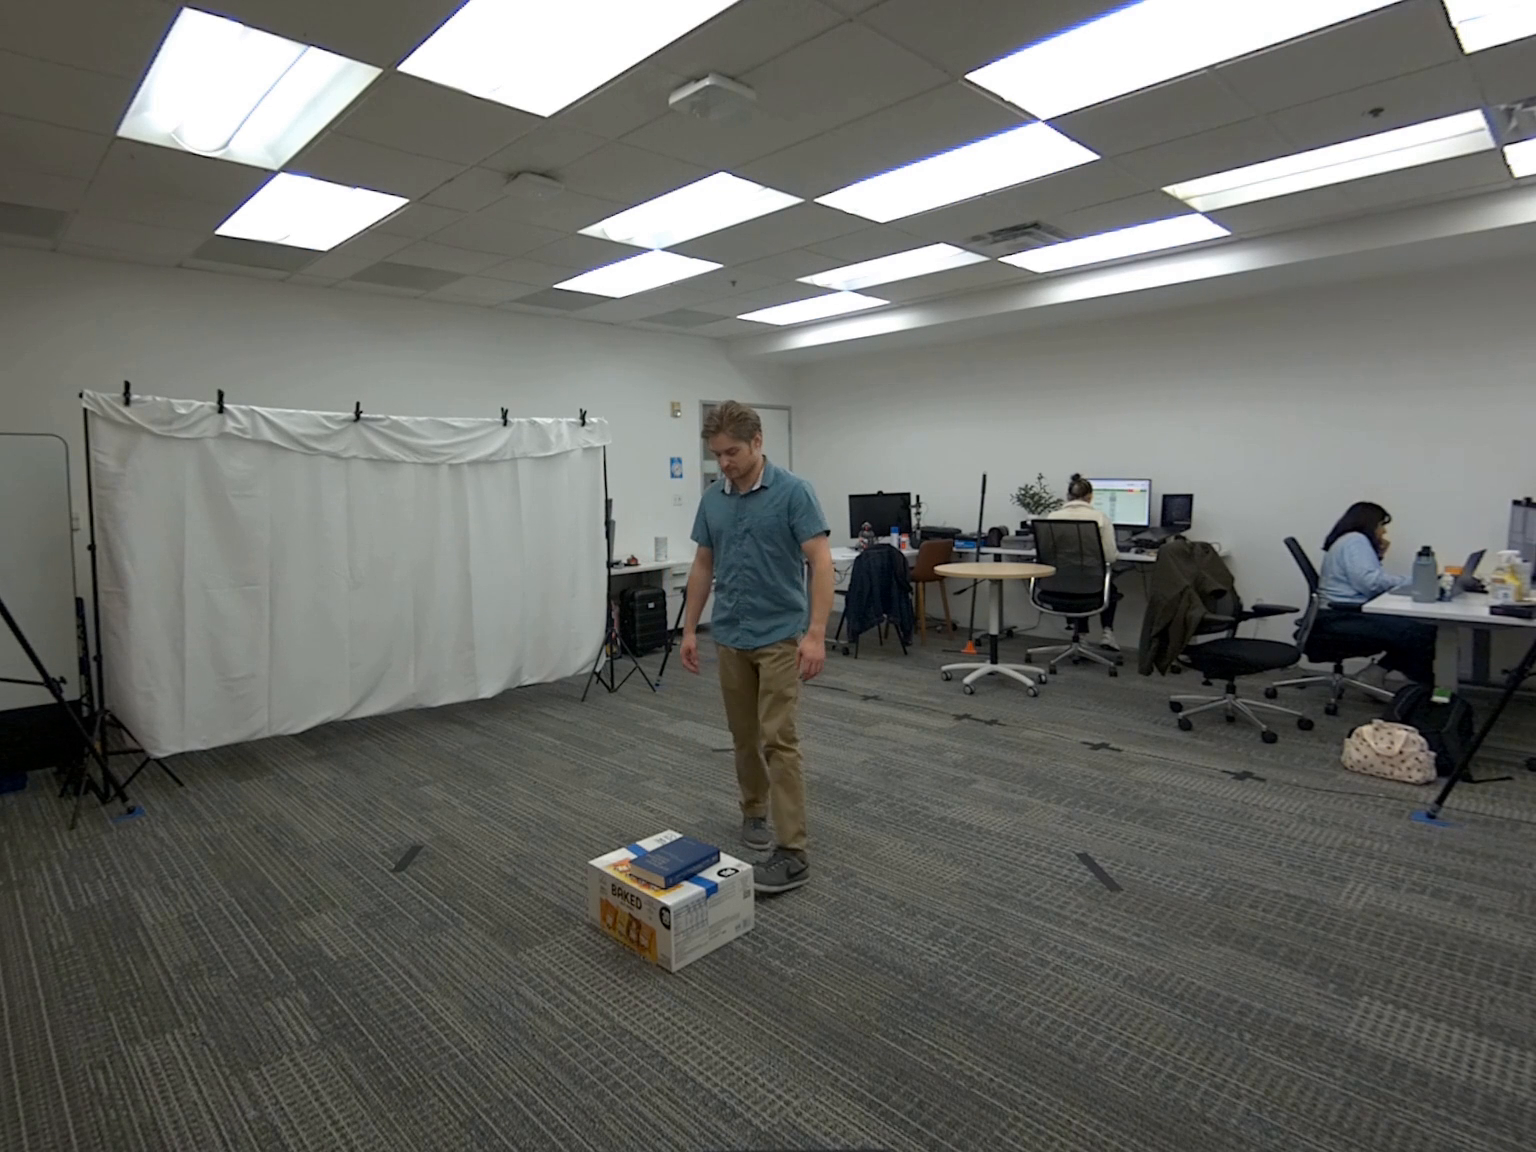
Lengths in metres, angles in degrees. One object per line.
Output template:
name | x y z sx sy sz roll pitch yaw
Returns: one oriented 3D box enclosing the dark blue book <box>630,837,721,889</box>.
dark blue book | -0.284 0.894 2.640 0.168 0.045 0.239 3 8 40
